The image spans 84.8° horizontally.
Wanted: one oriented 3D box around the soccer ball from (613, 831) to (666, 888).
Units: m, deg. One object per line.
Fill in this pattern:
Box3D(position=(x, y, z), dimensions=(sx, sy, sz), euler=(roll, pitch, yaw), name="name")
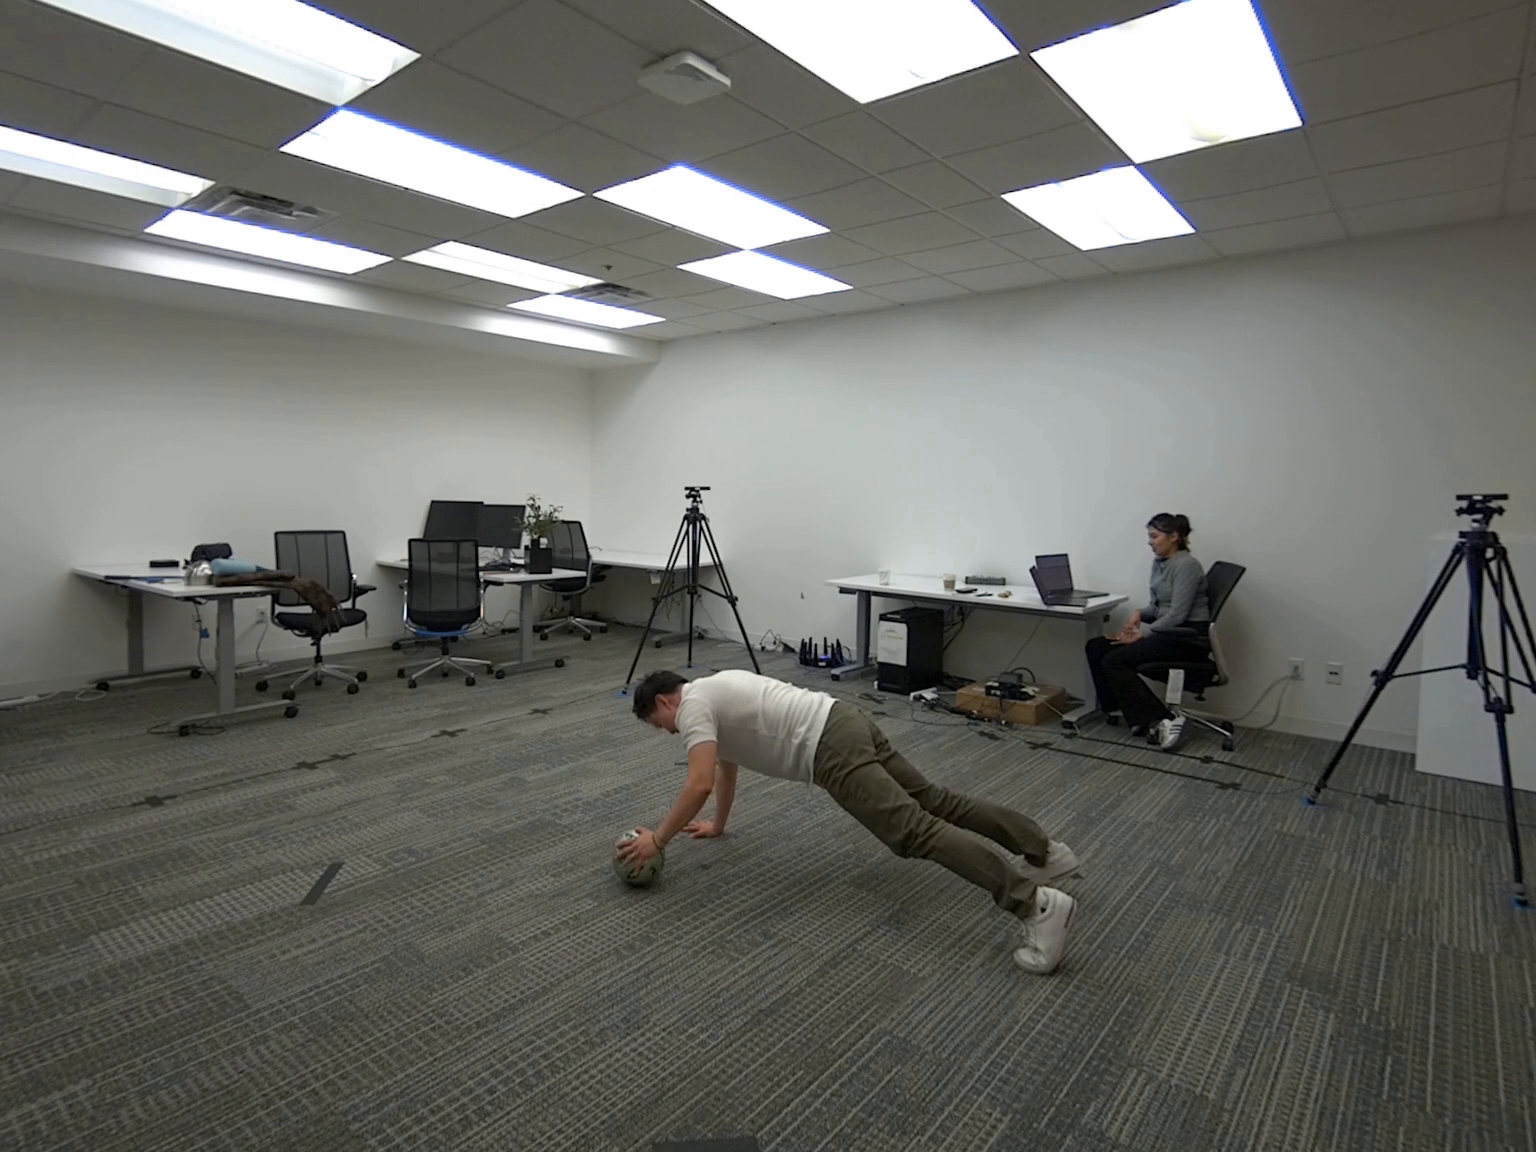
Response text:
Box3D(position=(-0.455, 0.982, 2.998), dimensions=(0.187, 0.187, 0.188), euler=(1, 4, -2), name="soccer ball")
